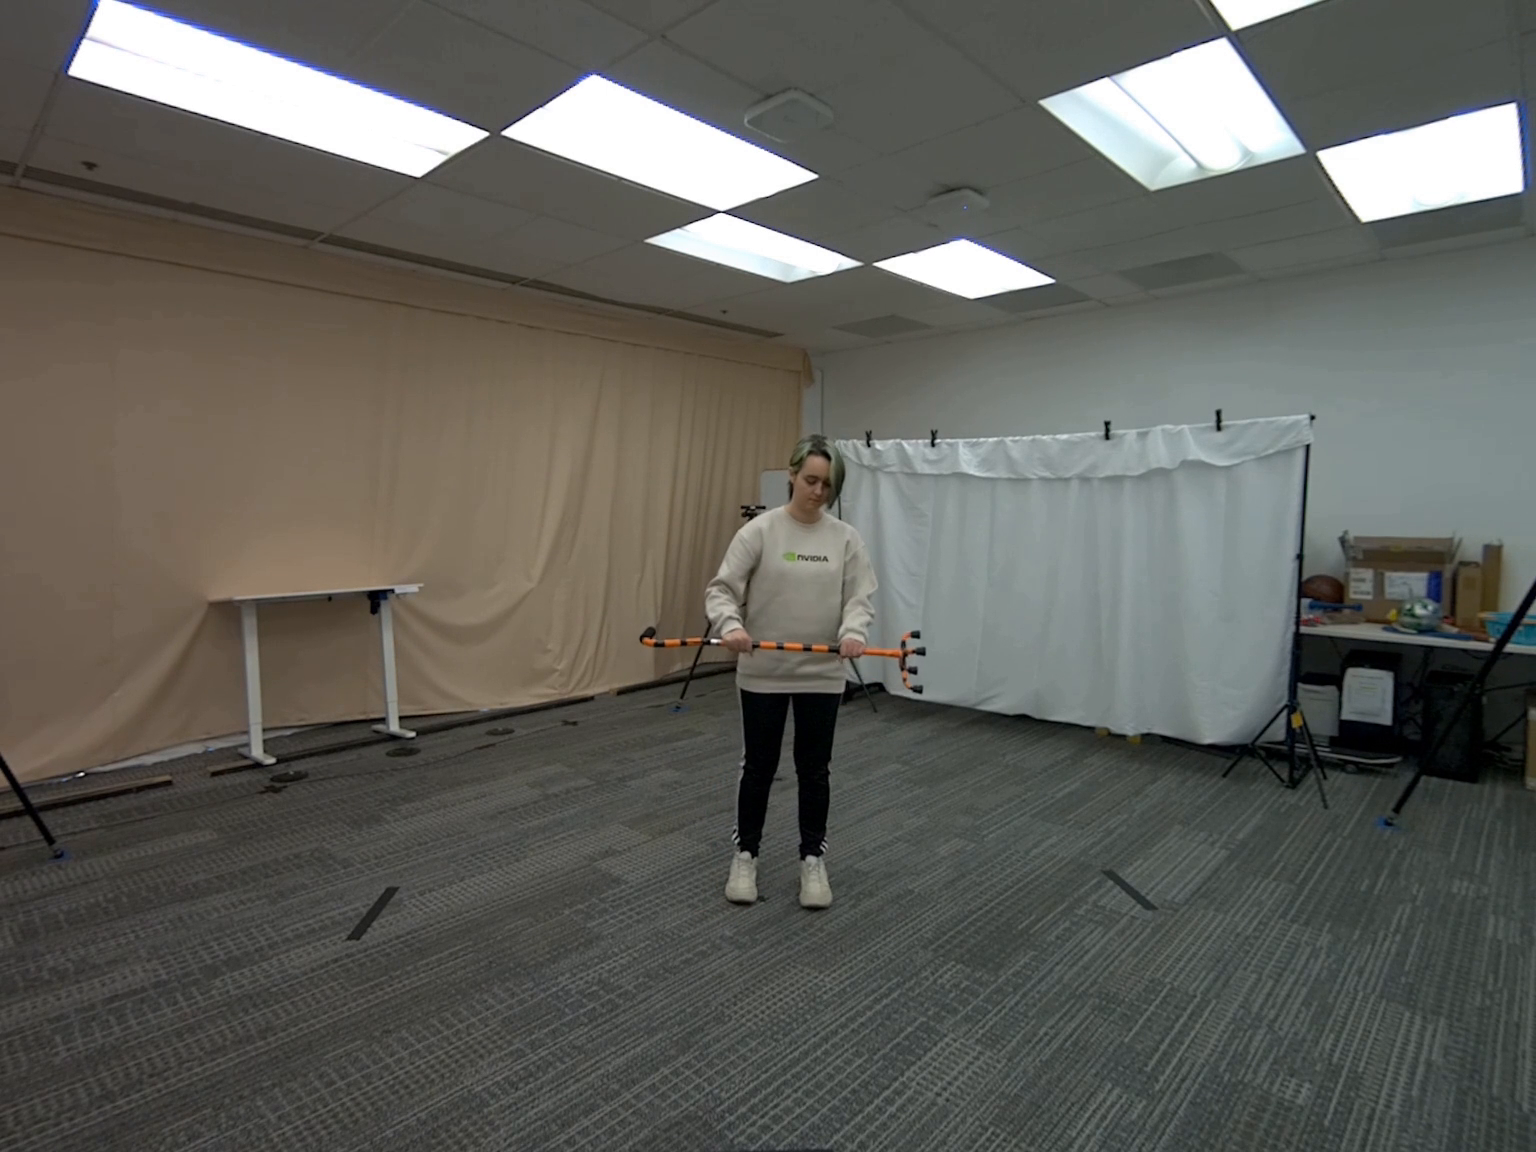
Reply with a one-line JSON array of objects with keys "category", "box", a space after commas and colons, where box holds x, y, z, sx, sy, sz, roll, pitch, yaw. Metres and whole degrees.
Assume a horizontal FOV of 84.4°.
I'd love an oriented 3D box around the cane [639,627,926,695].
[{"category": "cane", "box": [0.039, 0.241, 2.713, 0.916, 0.150, 0.206, 5, 13, 7]}]
